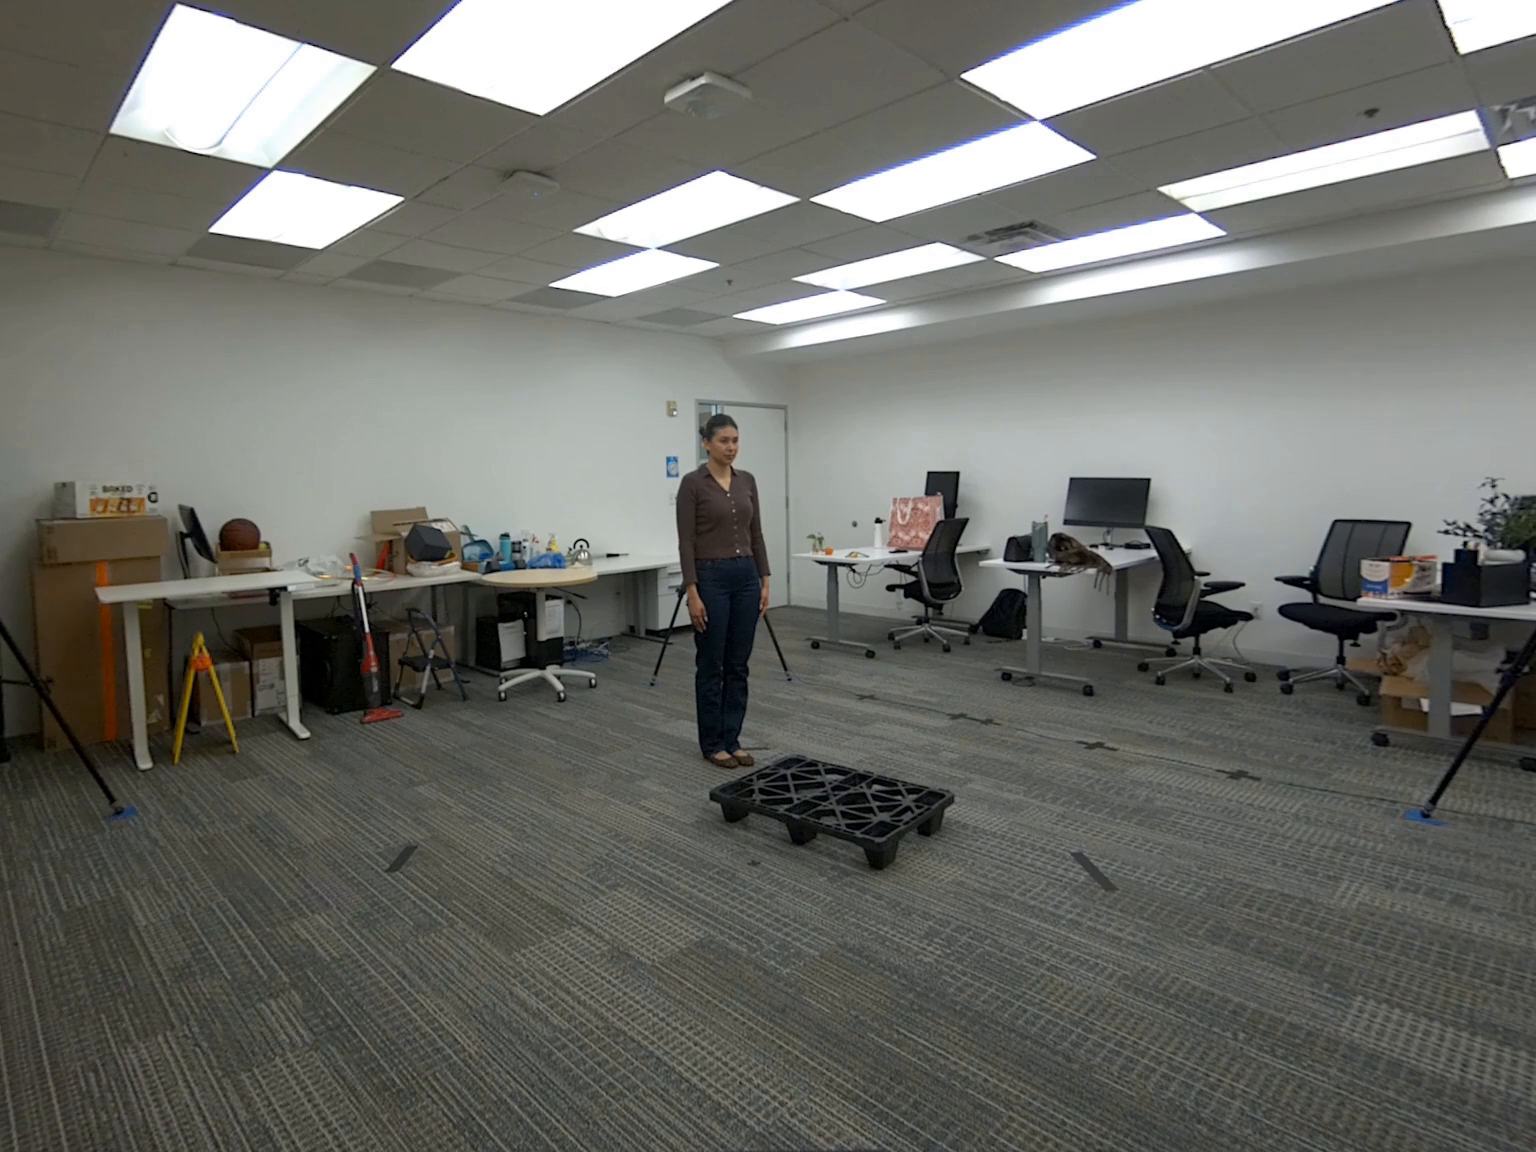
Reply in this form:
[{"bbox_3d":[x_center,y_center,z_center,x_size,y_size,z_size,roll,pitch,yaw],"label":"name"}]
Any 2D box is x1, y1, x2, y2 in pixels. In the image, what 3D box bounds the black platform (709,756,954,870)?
[{"bbox_3d":[0.253,0.935,3.443,0.830,0.143,0.589,4,7,39],"label":"black platform"}]
